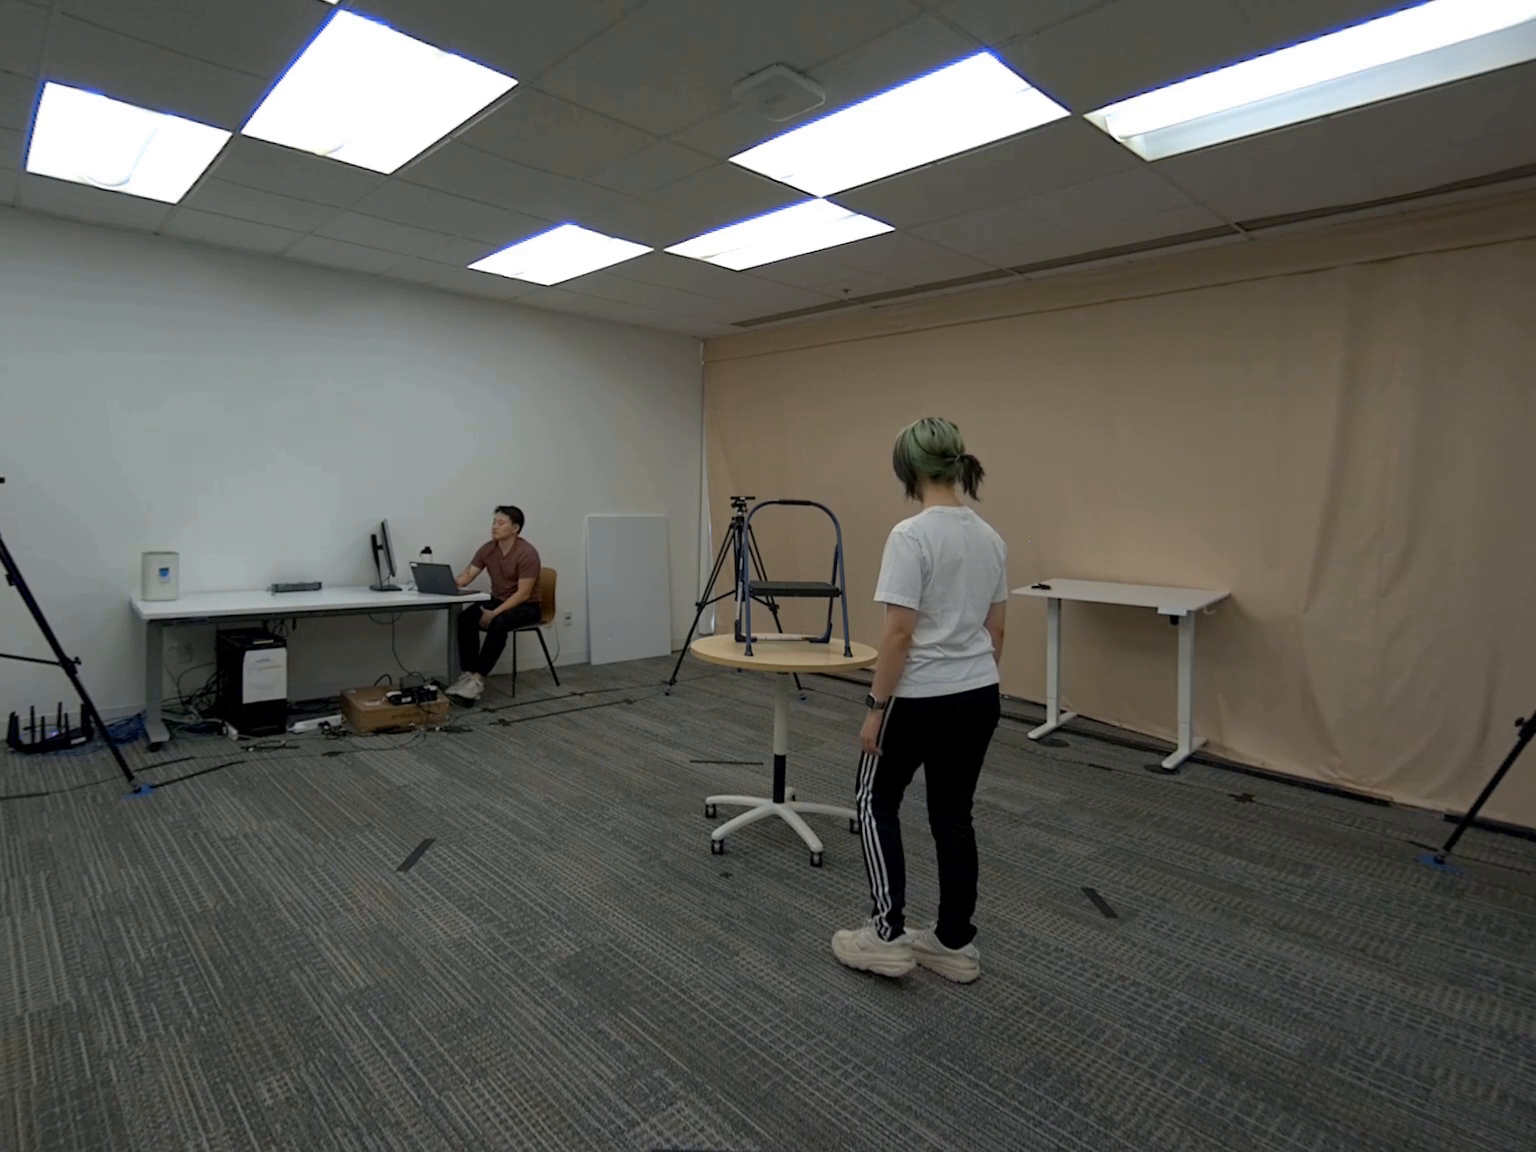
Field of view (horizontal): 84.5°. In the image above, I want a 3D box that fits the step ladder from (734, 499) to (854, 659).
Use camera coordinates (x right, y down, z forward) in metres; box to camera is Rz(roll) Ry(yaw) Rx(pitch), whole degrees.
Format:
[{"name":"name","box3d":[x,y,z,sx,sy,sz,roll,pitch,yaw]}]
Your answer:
[{"name":"step ladder","box3d":[0.094,-0.004,3.420,0.427,0.605,0.353,1,3,-10]}]
